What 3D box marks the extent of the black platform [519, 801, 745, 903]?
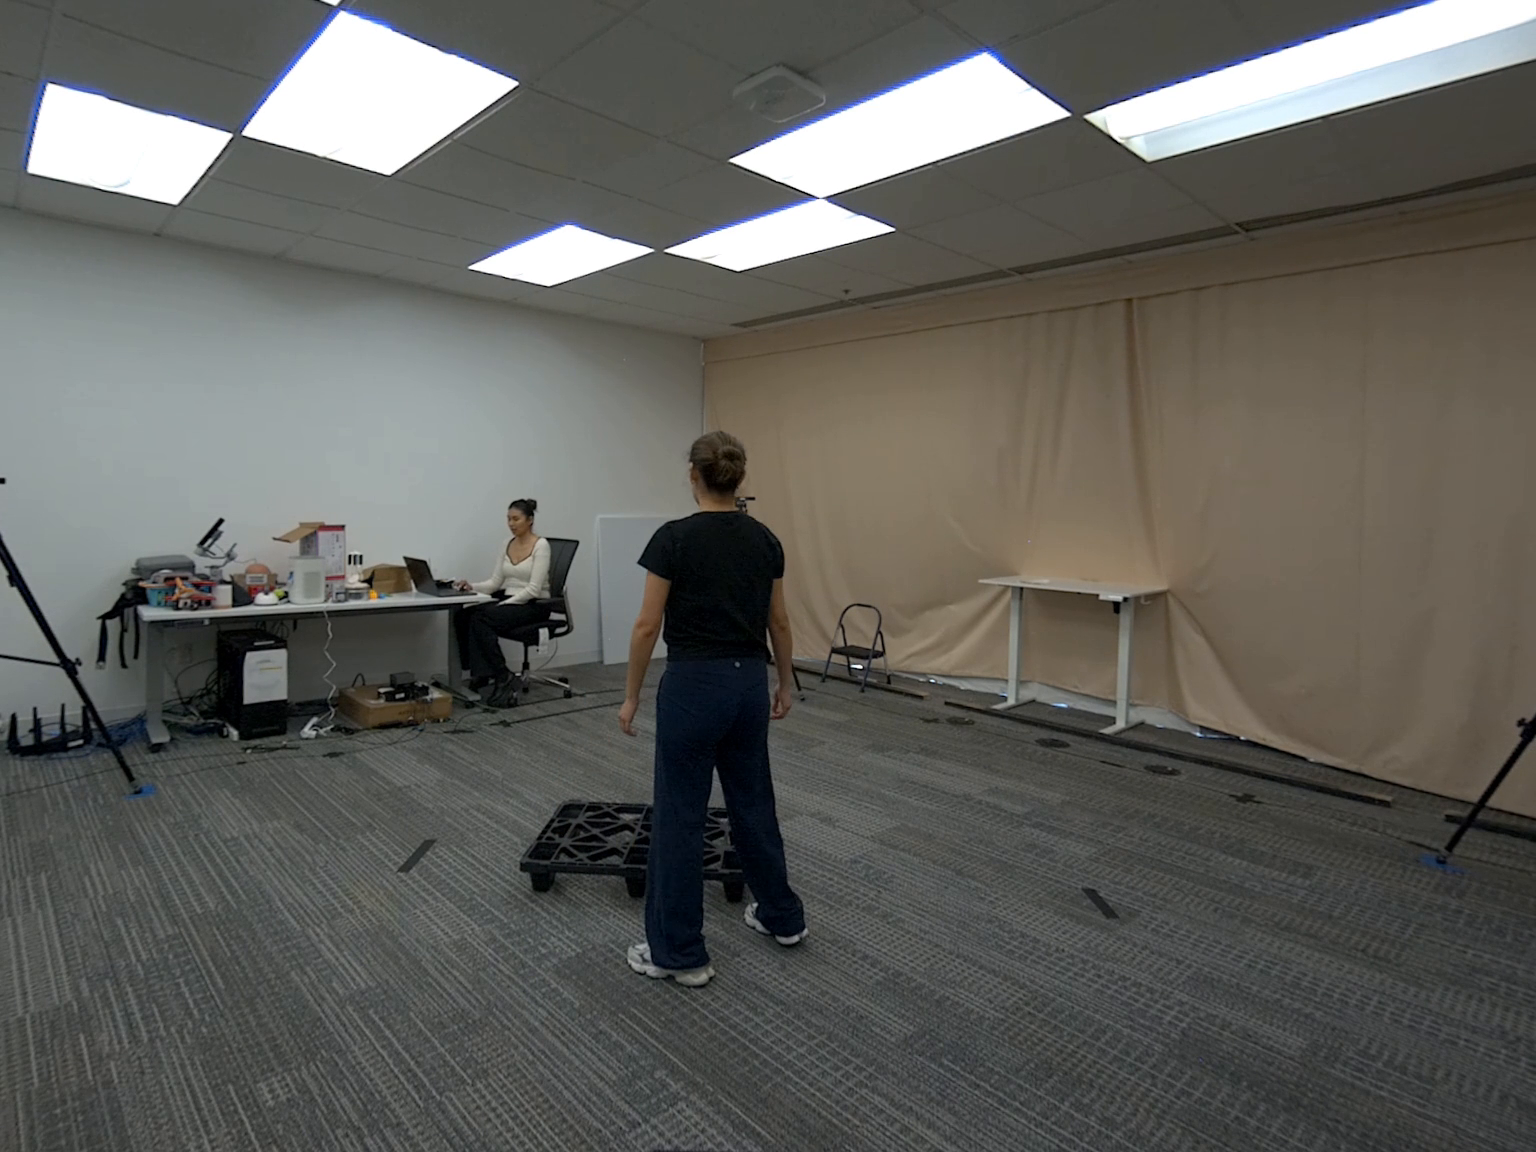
[{"bbox_3d":[-0.457,1.029,3.141,0.808,0.143,0.605,2,5,3],"label":"black platform"}]
